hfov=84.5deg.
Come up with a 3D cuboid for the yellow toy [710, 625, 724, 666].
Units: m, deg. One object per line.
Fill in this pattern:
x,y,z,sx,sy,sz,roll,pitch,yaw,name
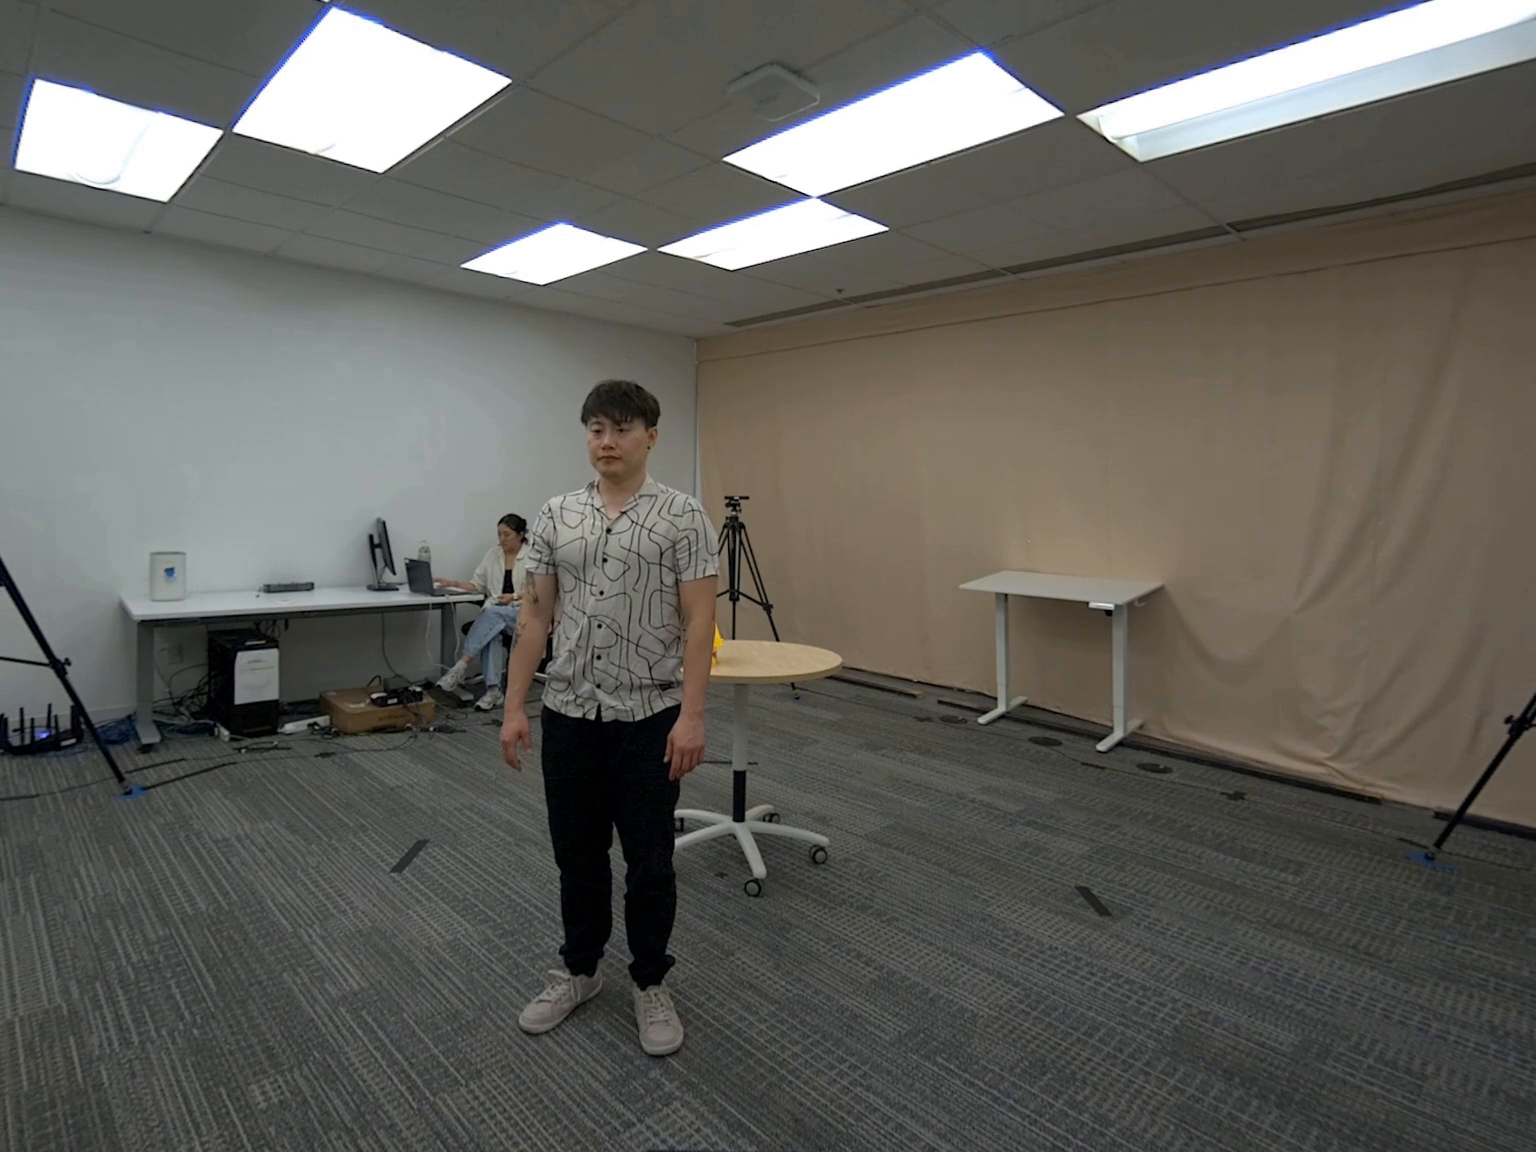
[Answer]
-0.262,0.210,3.093,0.192,0.230,0.206,2,5,-3,yellow toy
